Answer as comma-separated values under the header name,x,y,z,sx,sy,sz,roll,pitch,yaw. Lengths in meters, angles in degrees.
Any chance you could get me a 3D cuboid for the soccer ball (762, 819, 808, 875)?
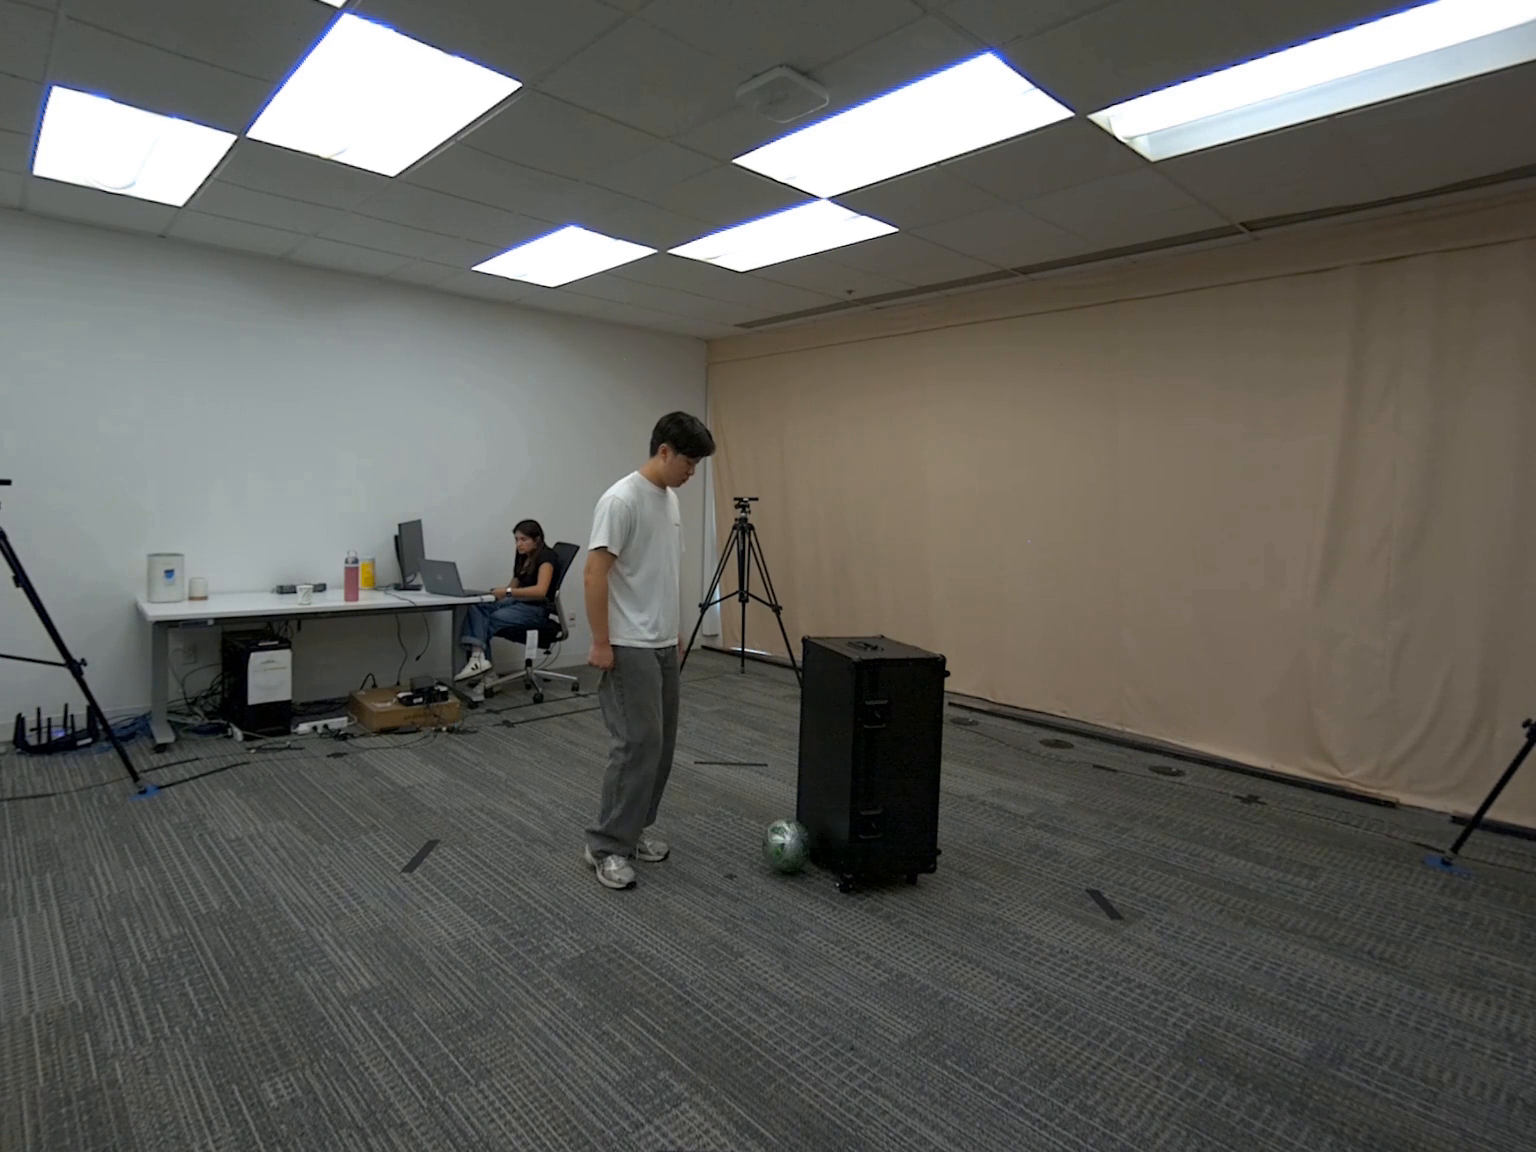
name,x,y,z,sx,sy,sz,roll,pitch,yaw
soccer ball,0.031,1.002,3.124,0.187,0.187,0.188,1,4,-1
